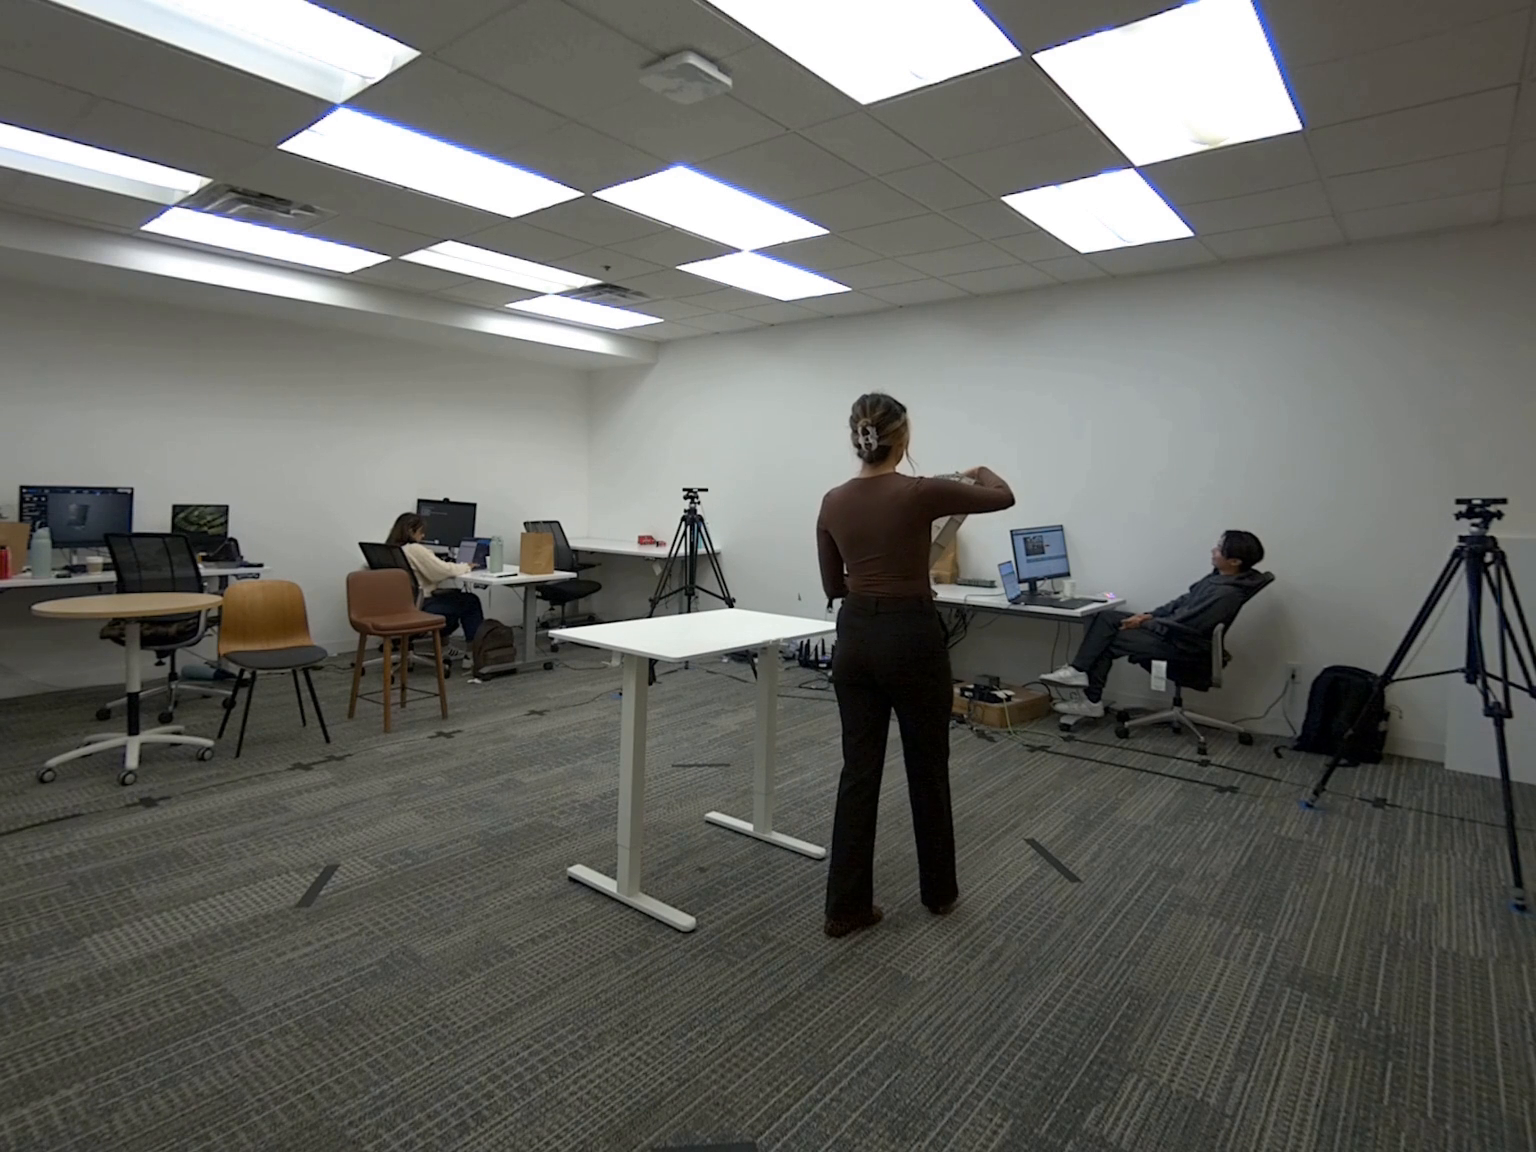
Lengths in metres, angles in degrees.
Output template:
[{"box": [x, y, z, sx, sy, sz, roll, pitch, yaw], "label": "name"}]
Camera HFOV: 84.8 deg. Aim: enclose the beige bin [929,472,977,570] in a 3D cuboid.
[{"box": [0.612, -0.150, 3.126, 0.187, 0.422, 0.381, 33, 2, -9], "label": "beige bin"}]
